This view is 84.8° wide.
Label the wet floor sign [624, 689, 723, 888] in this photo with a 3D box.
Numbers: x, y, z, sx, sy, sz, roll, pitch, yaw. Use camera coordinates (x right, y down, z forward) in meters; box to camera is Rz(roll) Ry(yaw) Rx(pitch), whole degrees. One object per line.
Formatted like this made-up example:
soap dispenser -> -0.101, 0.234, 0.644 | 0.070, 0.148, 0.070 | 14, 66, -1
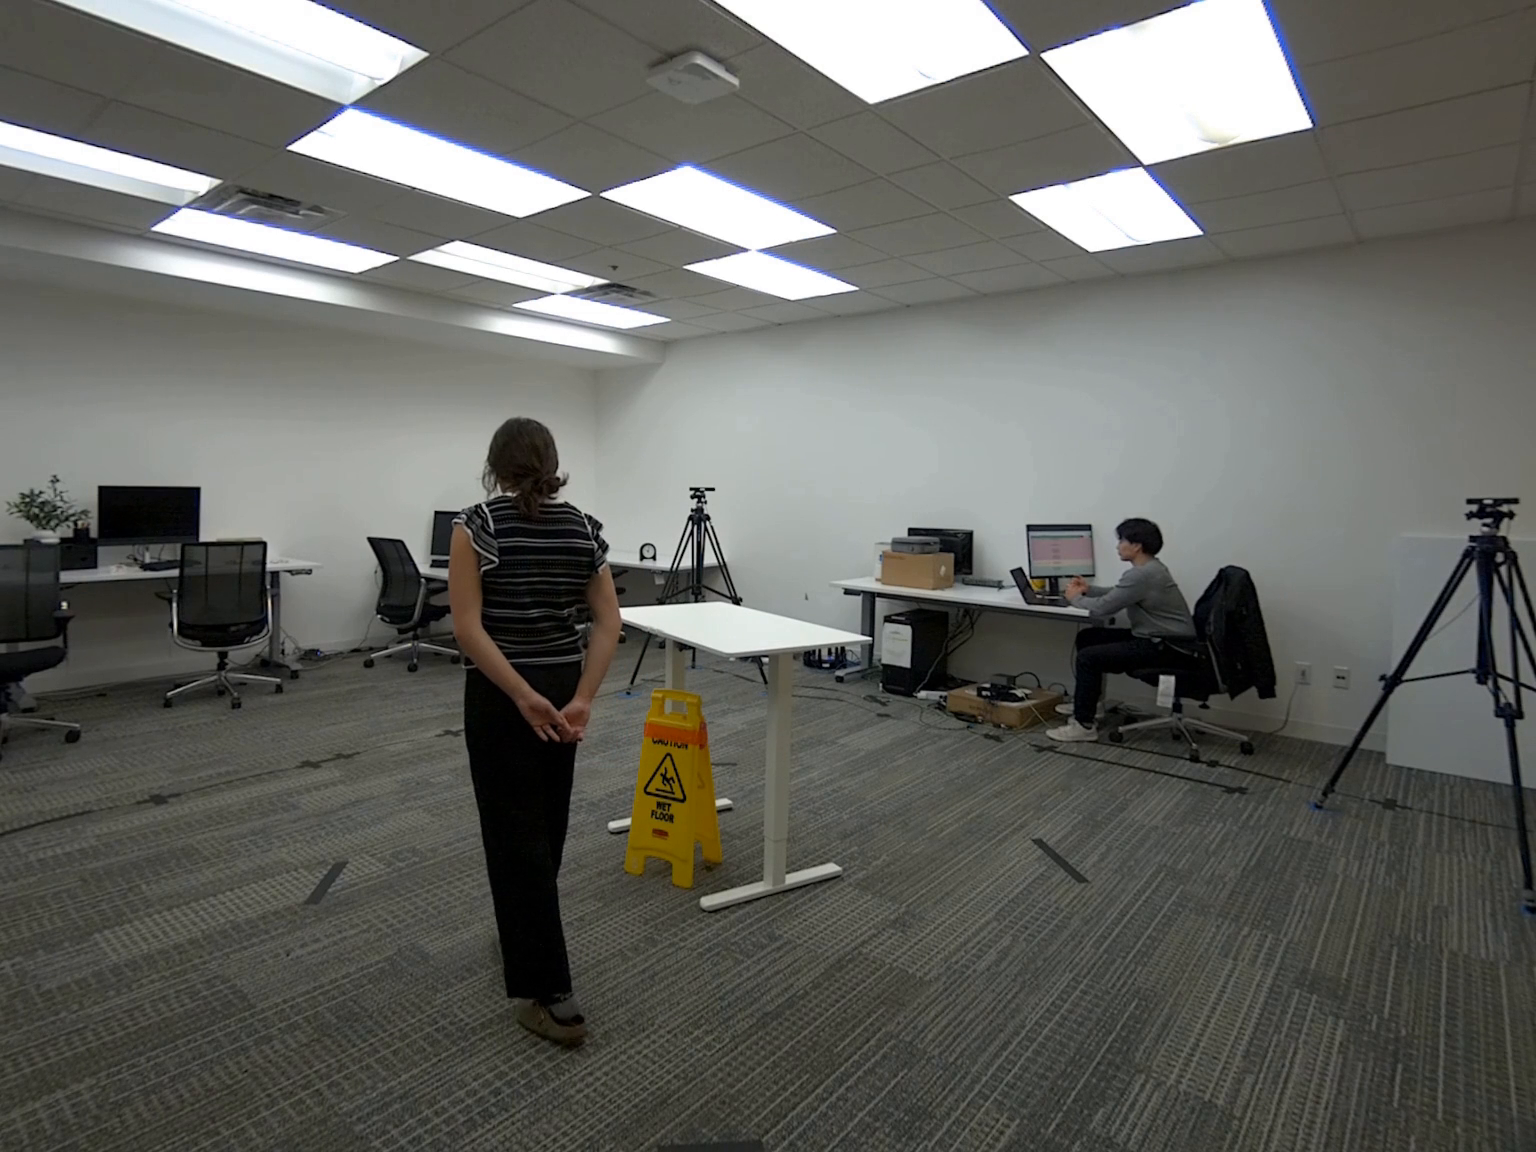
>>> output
wet floor sign -> -0.350, 0.740, 3.103 | 0.290, 0.645, 0.283 | 2, 3, 27
